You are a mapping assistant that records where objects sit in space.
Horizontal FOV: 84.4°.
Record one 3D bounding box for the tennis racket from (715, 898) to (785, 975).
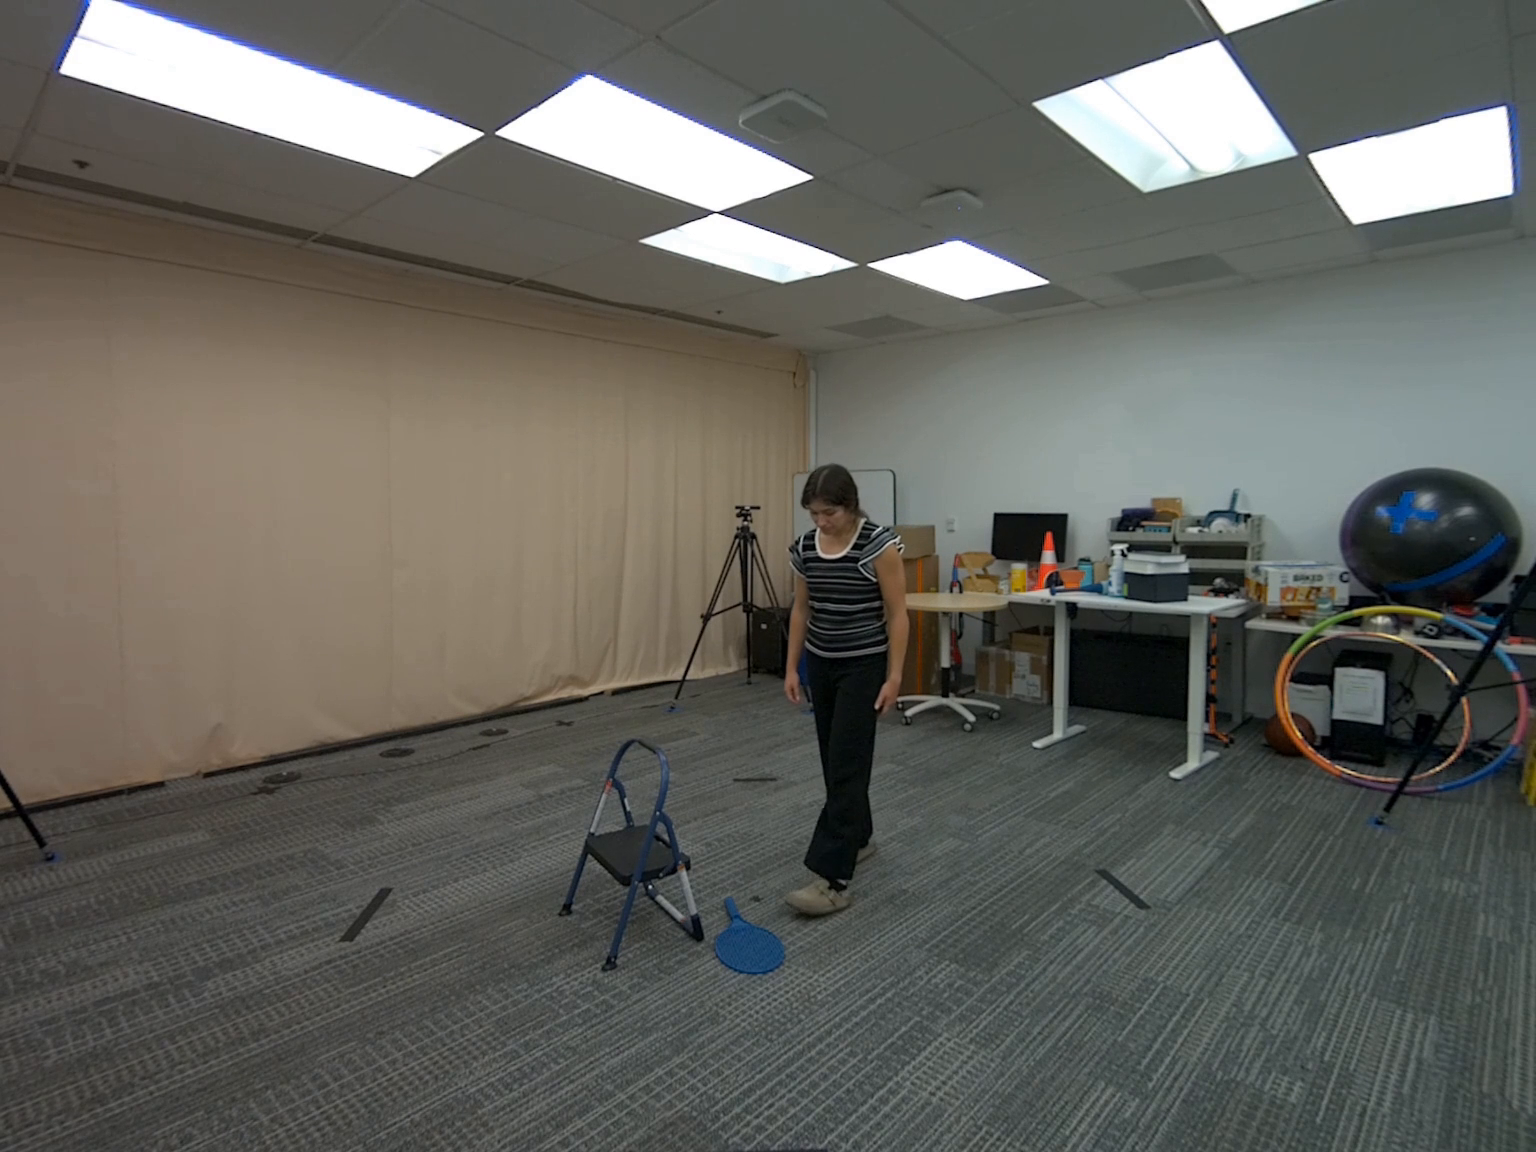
[{"bbox_3d":[-0.073,1.154,2.709,0.211,0.031,0.440,0,6,-13],"label":"tennis racket"}]
